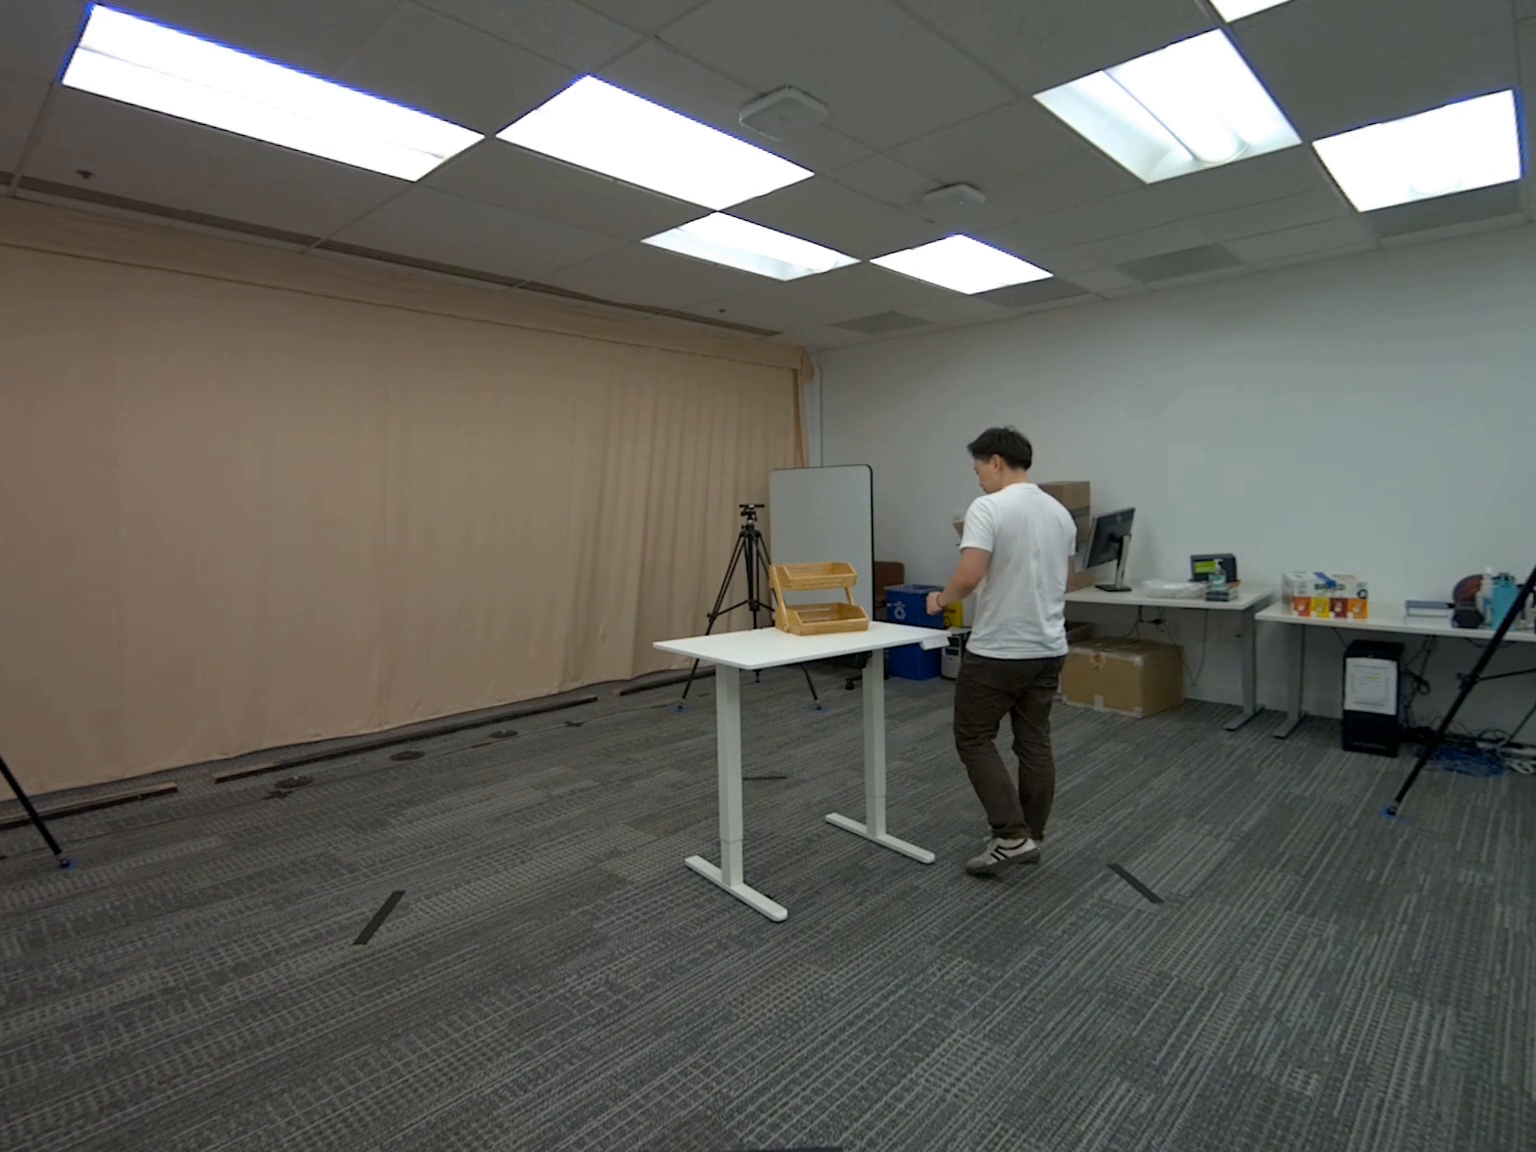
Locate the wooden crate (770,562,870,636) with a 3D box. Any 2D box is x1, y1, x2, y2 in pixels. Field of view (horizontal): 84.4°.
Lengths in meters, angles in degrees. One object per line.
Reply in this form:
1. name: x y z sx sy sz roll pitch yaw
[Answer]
1. wooden crate: 0.215 0.089 3.429 0.318 0.273 0.309 -1 3 -21
